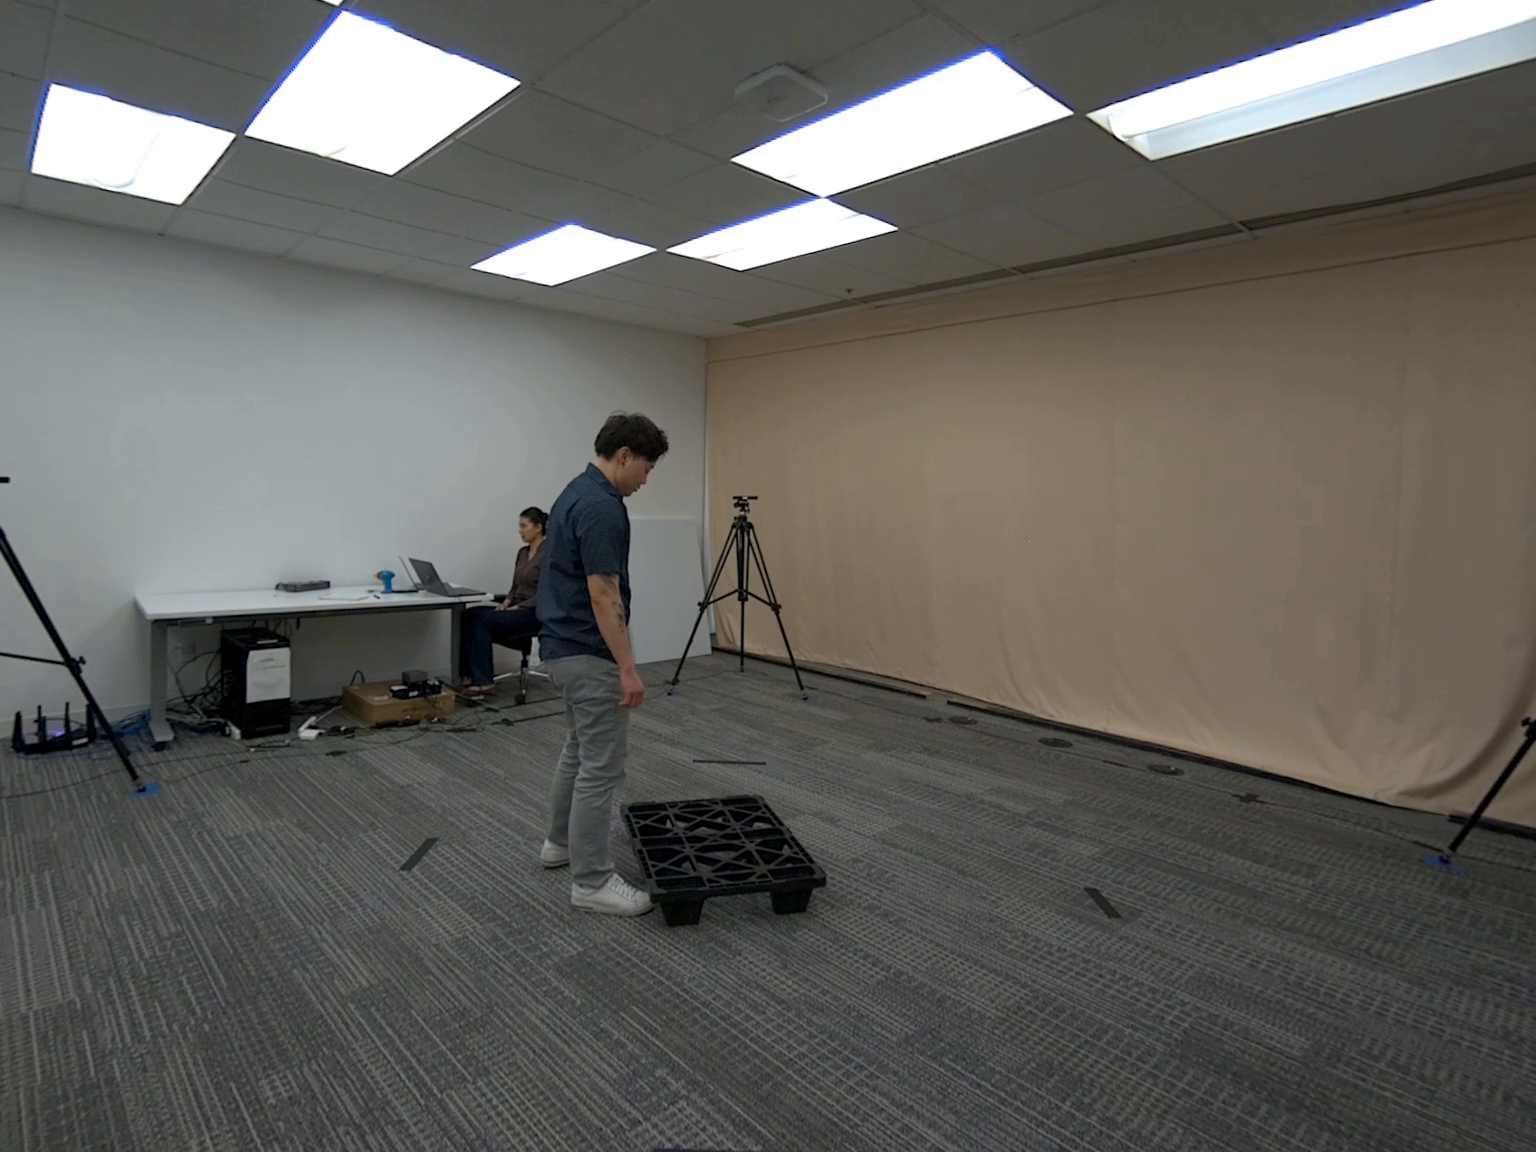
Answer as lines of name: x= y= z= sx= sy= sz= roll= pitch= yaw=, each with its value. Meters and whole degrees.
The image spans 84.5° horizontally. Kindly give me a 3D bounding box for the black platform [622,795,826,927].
black platform: x=-0.204 y=1.033 z=3.125 sx=0.598 sy=0.143 sz=0.818 roll=0 pitch=6 yaw=-16
